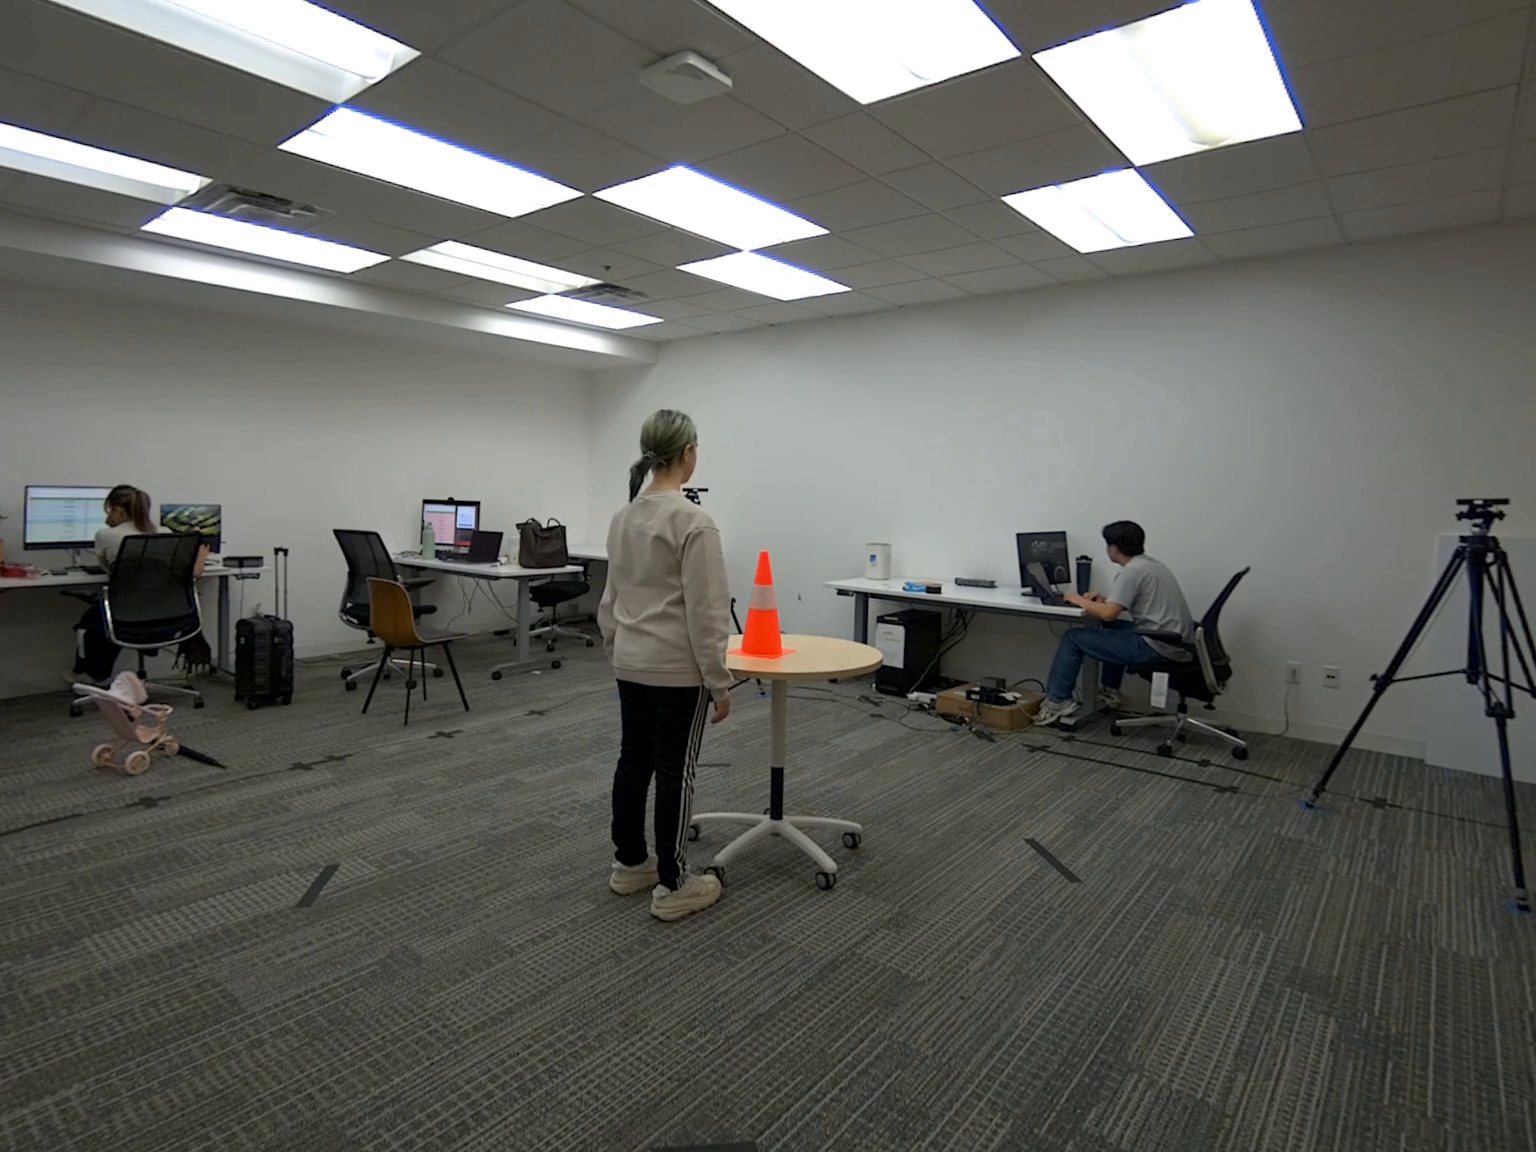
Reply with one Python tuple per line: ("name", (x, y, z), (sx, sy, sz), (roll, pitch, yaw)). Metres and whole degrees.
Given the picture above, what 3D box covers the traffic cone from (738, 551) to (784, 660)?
("traffic cone", (-0.029, 0.096, 3.180), (0.211, 0.382, 0.198), (3, 4, 29))
